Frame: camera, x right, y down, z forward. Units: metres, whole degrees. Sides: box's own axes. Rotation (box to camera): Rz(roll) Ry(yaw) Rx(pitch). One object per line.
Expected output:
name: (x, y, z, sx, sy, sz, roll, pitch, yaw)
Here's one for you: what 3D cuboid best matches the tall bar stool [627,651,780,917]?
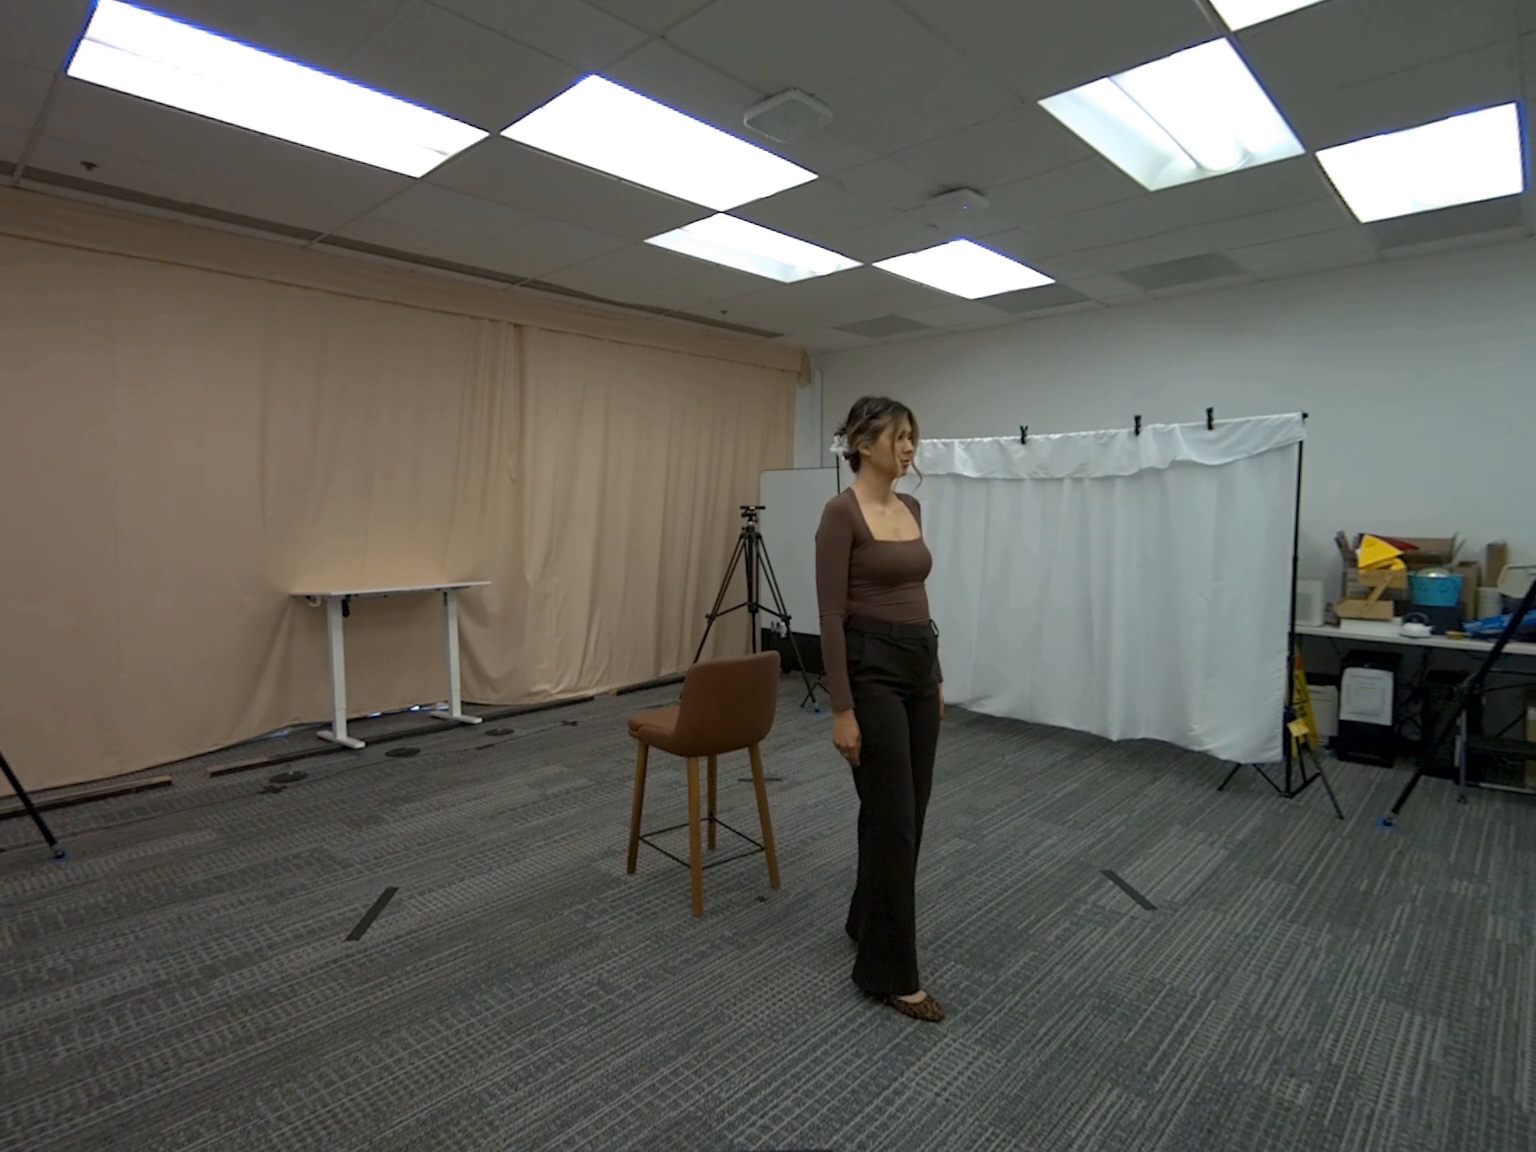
tall bar stool: (-0.236, 0.698, 3.113, 0.443, 0.887, 0.483, -3, 6, -38)
